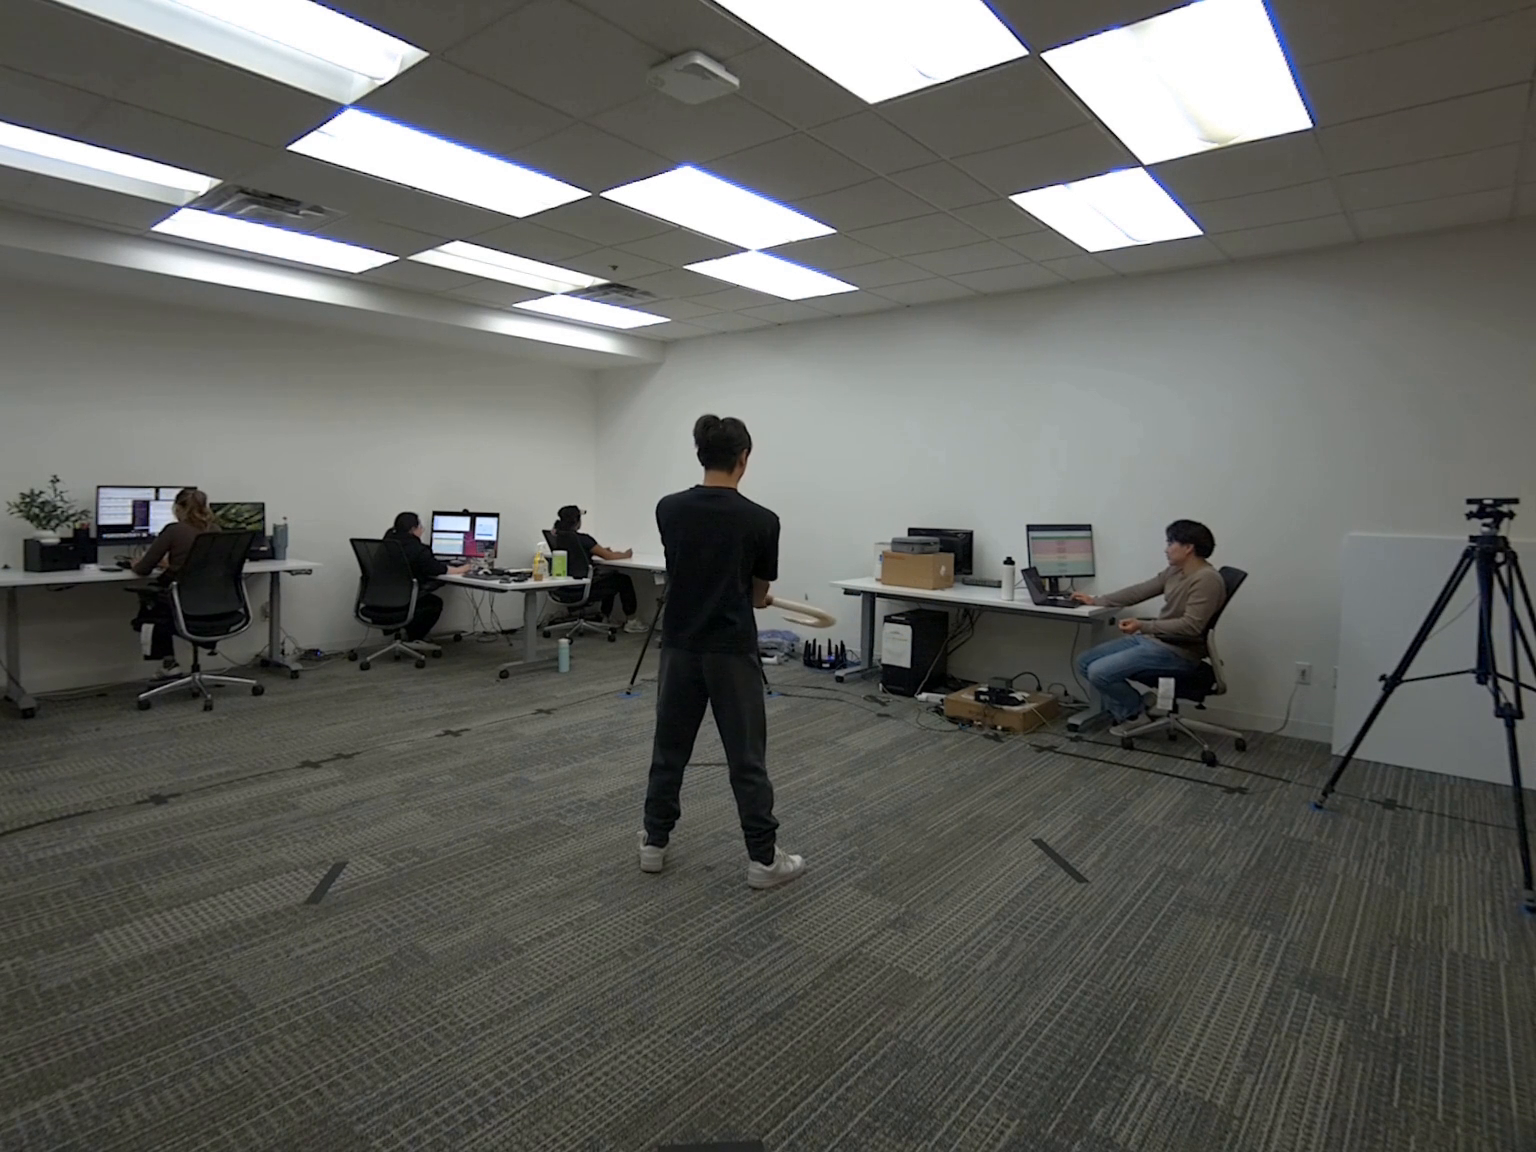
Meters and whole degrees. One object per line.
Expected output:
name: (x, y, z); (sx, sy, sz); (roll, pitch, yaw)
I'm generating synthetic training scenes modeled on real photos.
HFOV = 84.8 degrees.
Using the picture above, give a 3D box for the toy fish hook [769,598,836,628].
toy fish hook: (0.019, 0.136, 3.555); (0.497, 0.049, 0.225); (19, -26, -15)
